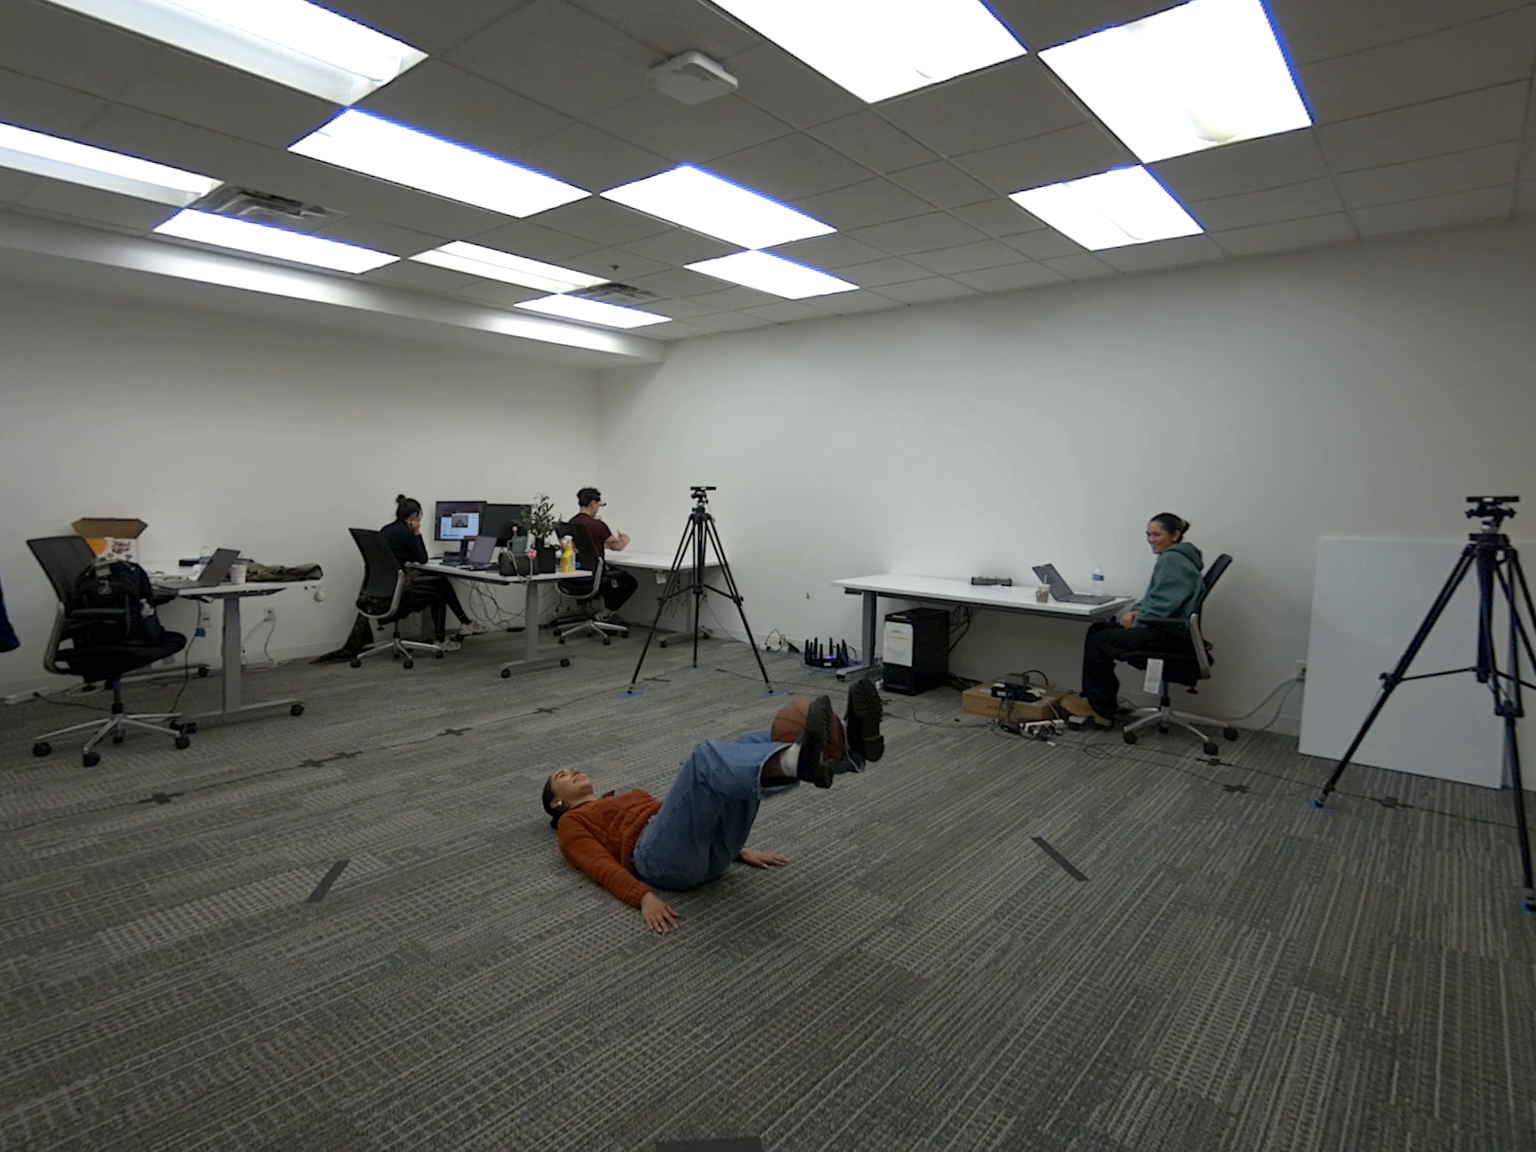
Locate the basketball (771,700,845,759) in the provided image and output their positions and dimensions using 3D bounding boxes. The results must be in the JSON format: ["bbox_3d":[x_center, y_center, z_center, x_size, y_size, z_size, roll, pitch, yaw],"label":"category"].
[{"bbox_3d":[0.120,0.511,2.725,0.236,0.235,0.237,1,4,-2],"label":"basketball"}]
